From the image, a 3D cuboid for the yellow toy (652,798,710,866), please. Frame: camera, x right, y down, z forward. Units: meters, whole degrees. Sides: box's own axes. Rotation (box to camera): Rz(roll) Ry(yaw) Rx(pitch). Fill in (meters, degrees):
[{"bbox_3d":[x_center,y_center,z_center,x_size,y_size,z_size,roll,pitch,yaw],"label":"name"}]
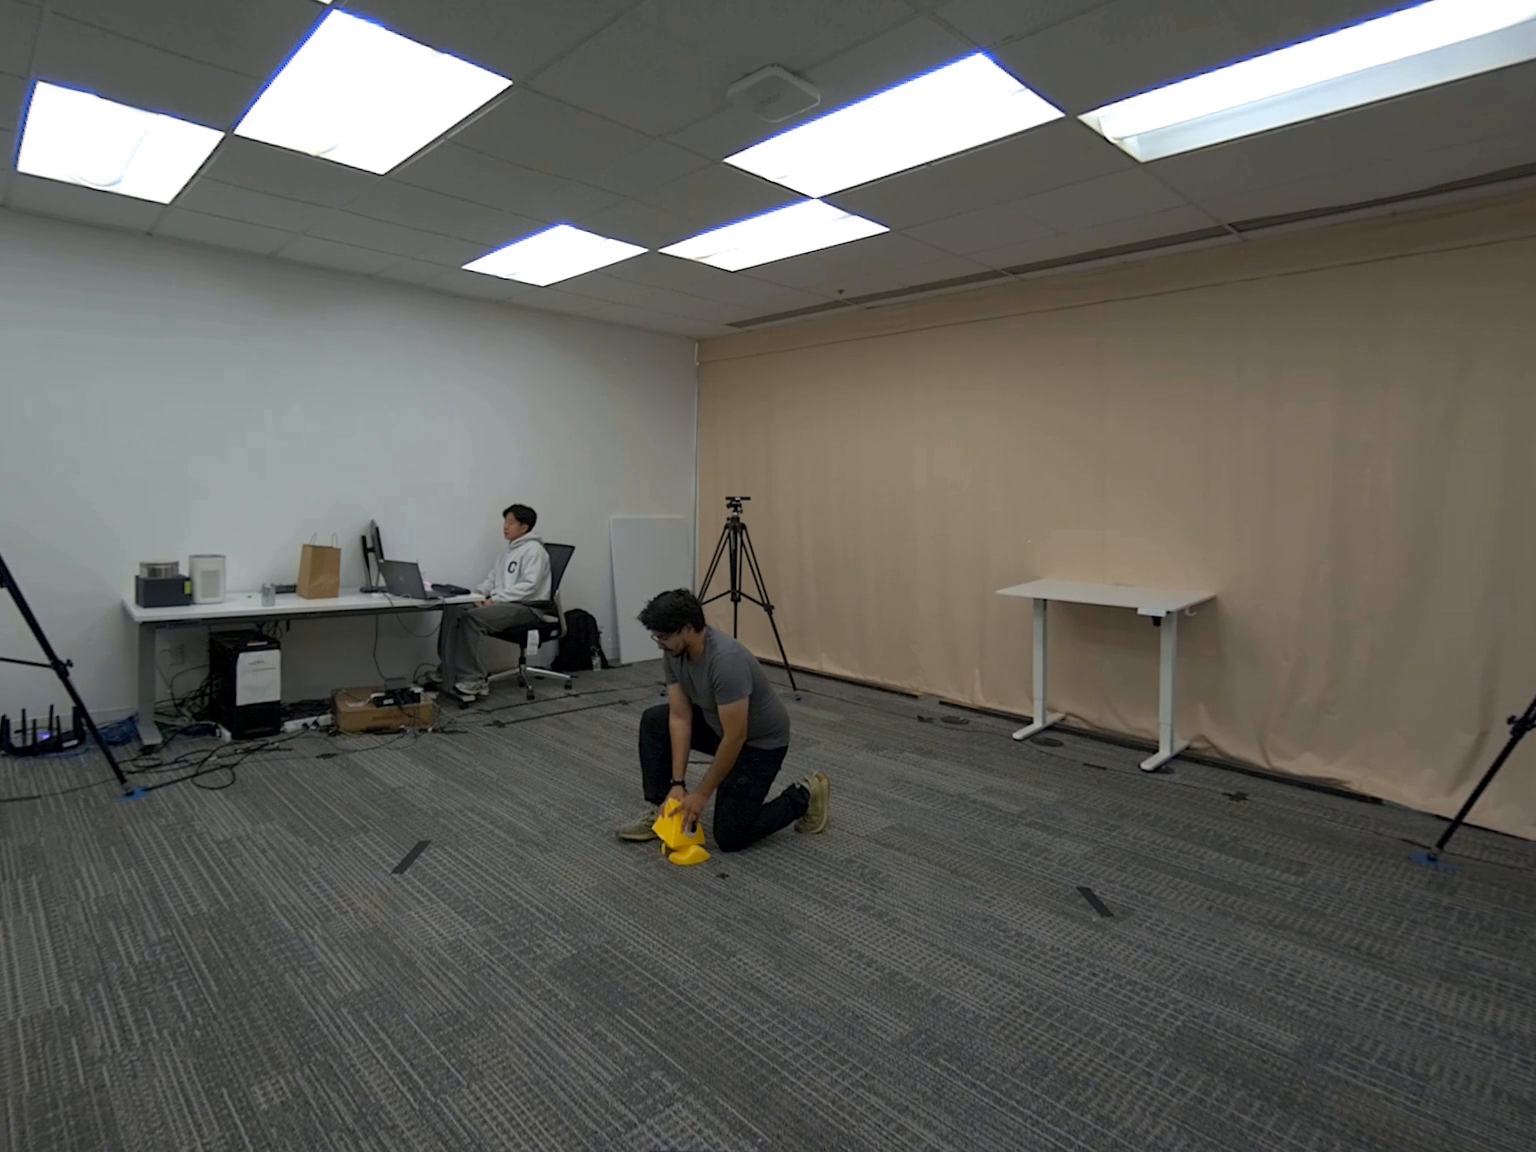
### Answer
[{"bbox_3d":[-0.340,0.974,3.282,0.189,0.230,0.209,0,3,-29],"label":"yellow toy"}]
